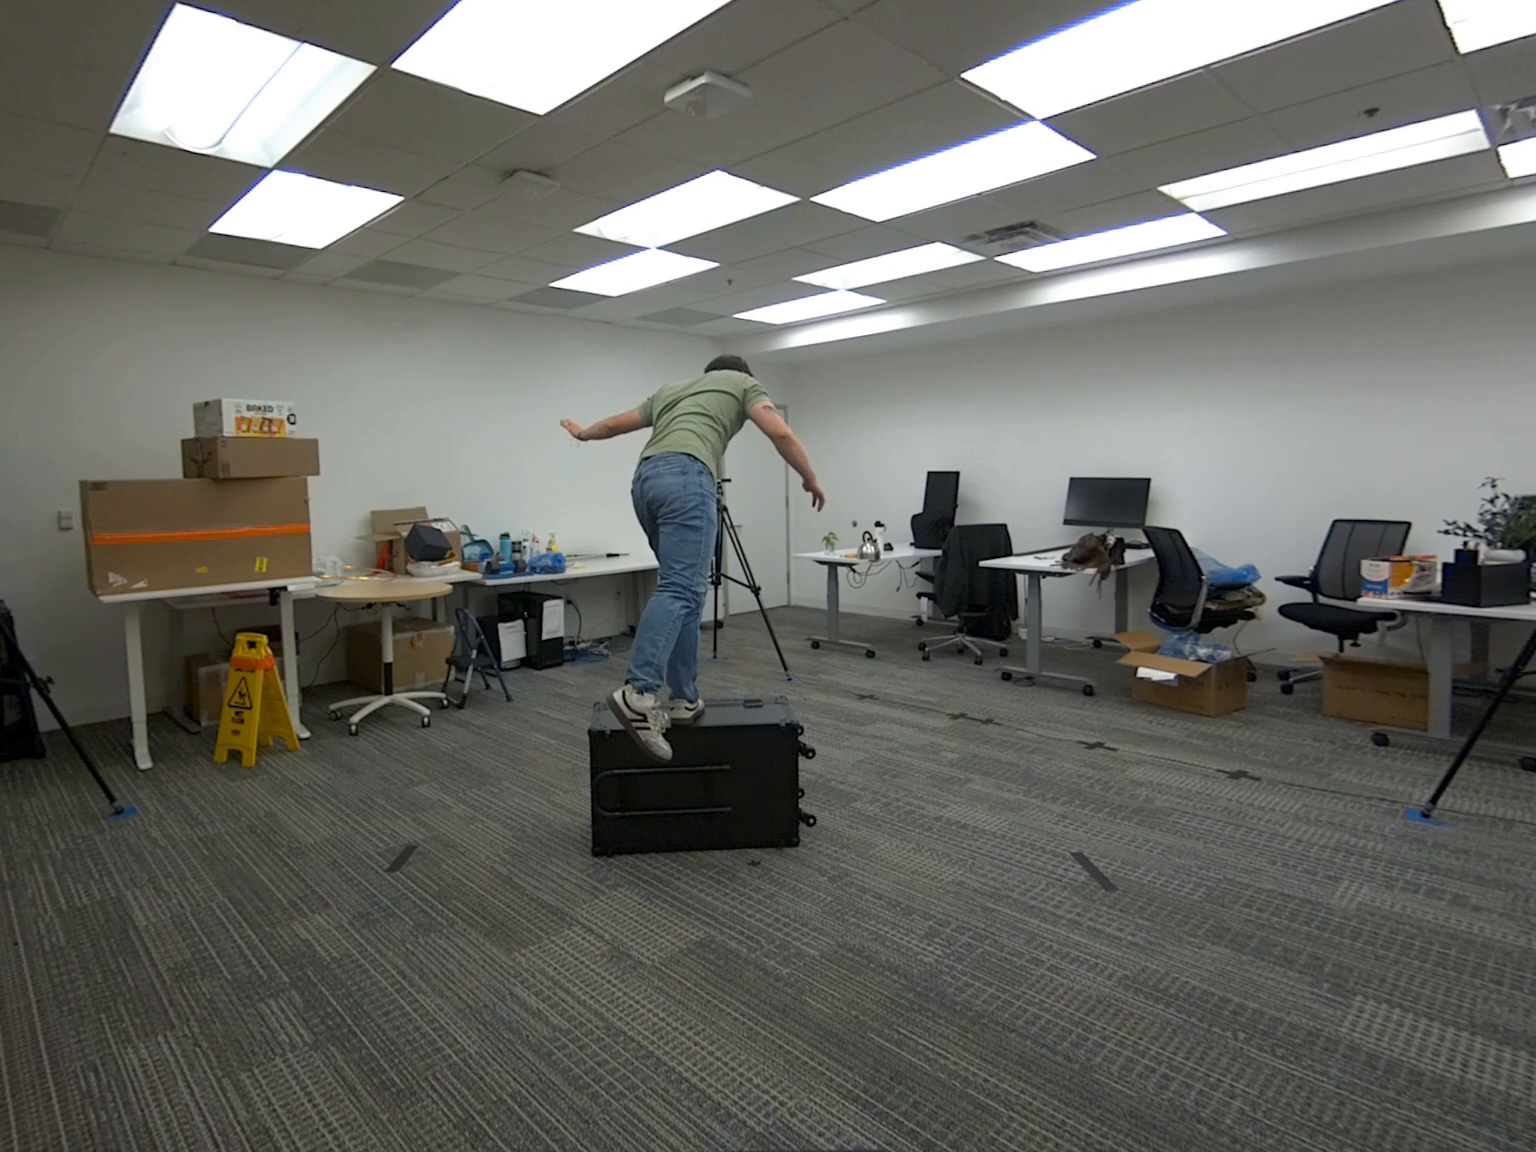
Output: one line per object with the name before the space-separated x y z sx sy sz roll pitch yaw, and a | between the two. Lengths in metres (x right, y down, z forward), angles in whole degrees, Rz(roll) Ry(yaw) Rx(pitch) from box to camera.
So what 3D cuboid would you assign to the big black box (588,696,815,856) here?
big black box | -0.259 0.767 3.348 0.857 0.518 0.400 -1 6 -5
